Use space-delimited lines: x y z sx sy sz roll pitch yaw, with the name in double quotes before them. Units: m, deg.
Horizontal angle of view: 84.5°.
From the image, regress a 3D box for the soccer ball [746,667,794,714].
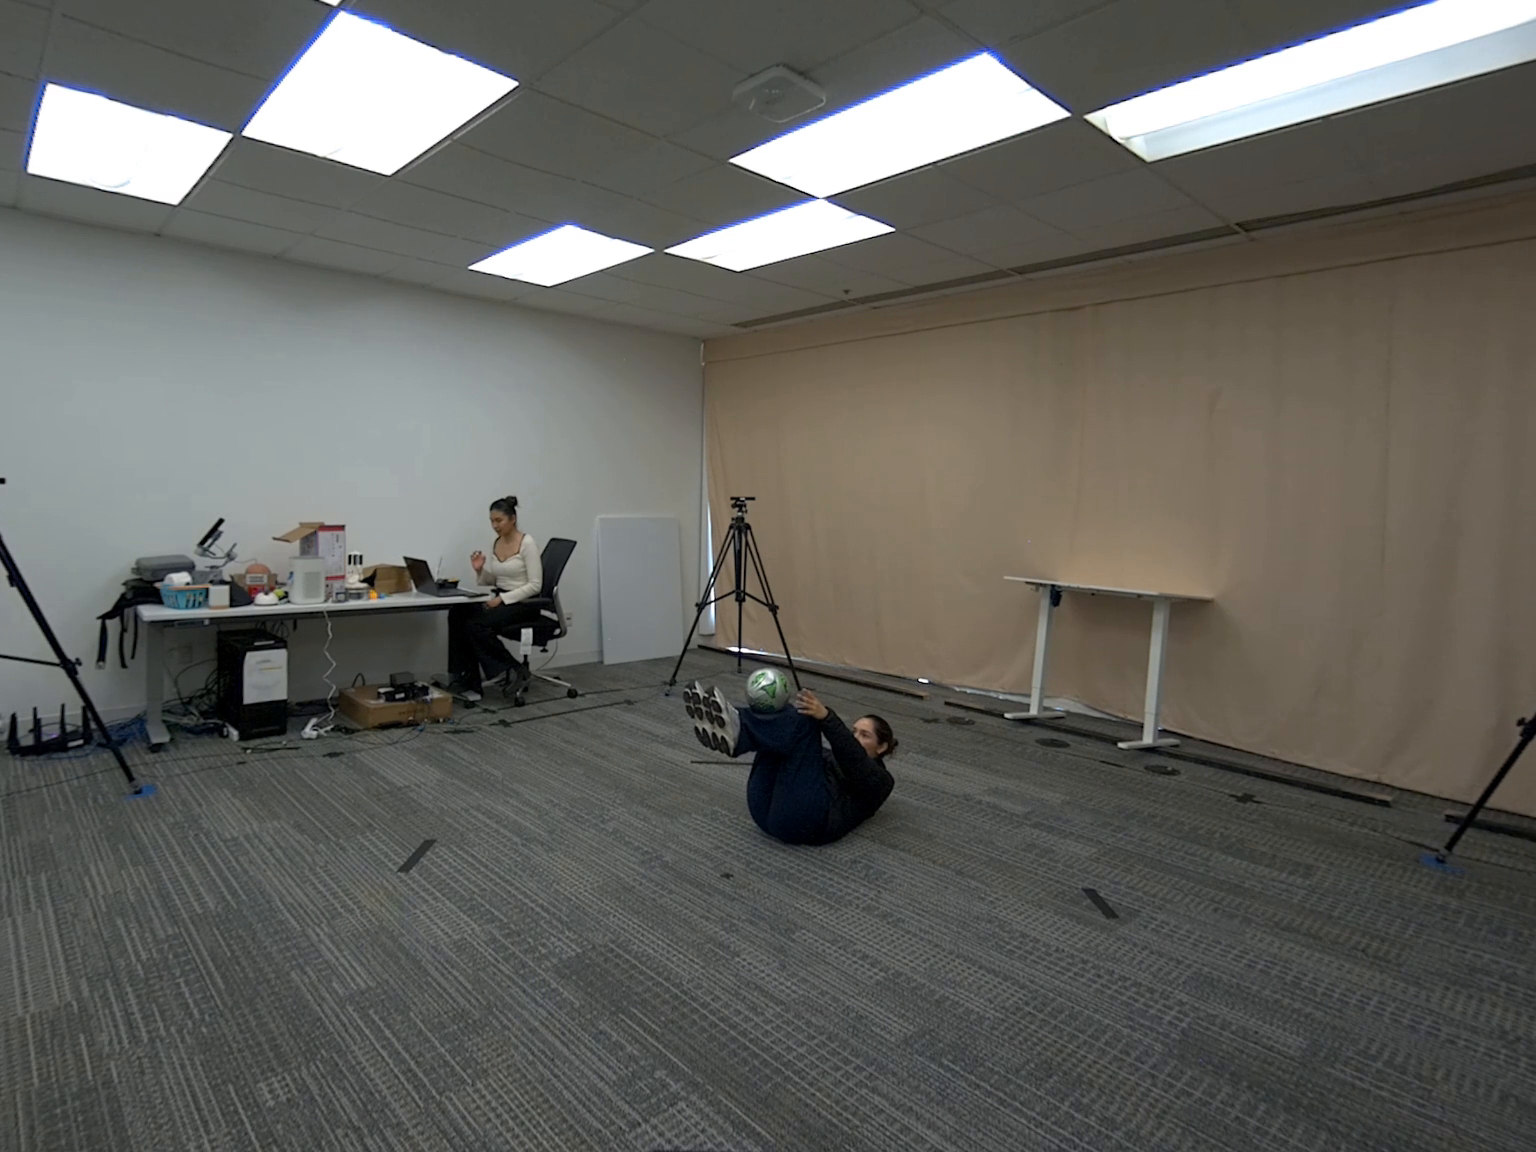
"soccer ball" -0.010 0.465 3.378 0.187 0.186 0.188 0 7 -1
